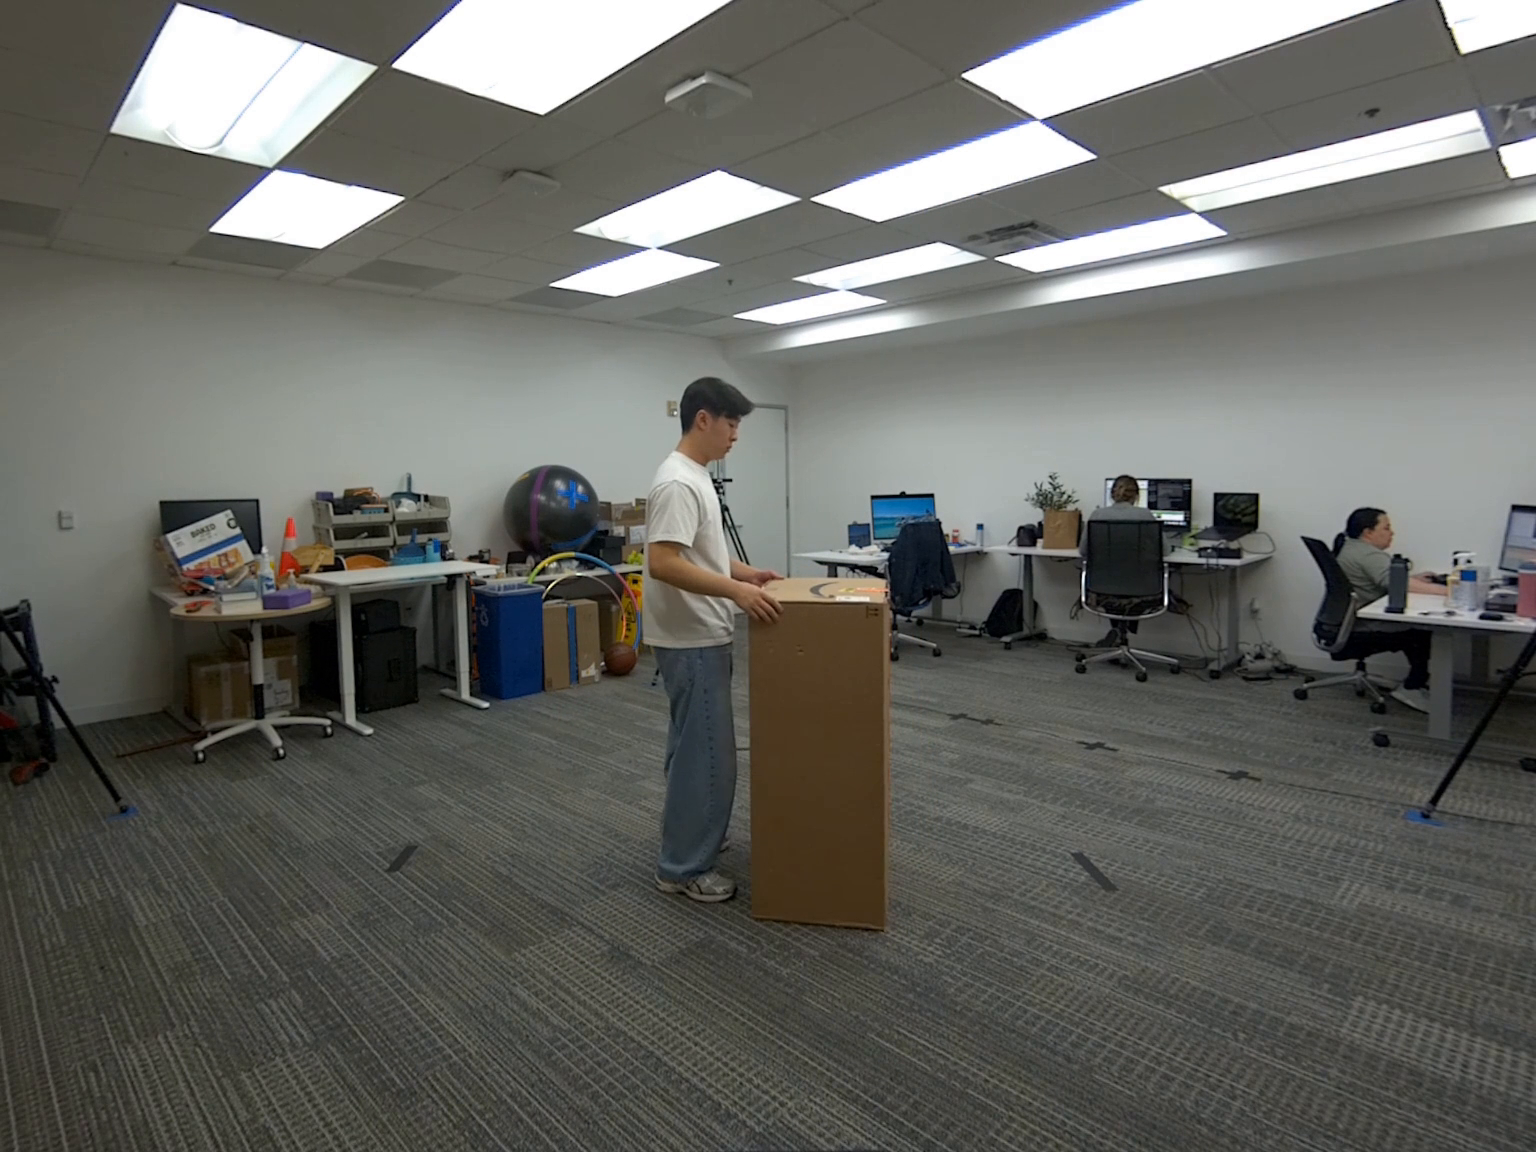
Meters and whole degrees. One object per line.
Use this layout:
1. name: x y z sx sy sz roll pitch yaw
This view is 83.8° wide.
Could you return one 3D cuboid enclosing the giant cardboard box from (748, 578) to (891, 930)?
1. giant cardboard box: 0.191 0.554 2.915 0.430 1.022 0.574 0 4 9
